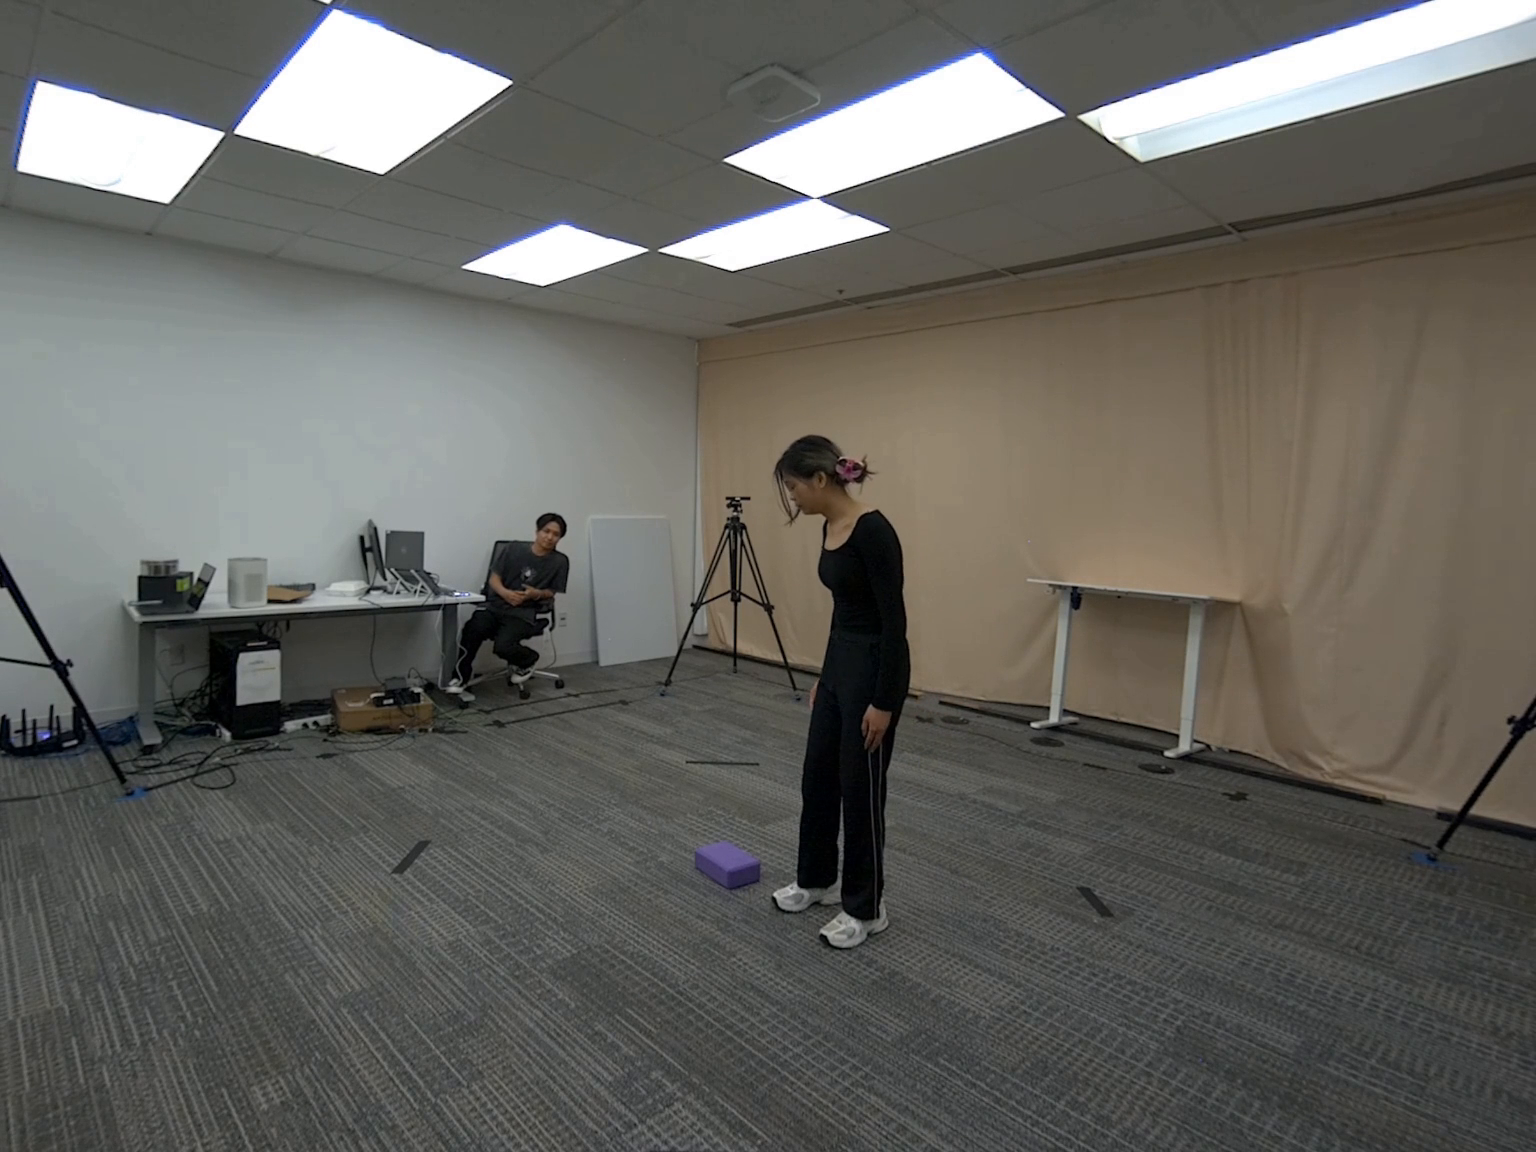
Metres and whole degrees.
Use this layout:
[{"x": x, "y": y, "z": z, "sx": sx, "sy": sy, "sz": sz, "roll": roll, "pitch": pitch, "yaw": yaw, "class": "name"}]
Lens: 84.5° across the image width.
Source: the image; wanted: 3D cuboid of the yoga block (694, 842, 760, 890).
[{"x": -0.158, "y": 1.064, "z": 3.111, "sx": 0.146, "sy": 0.076, "sz": 0.235, "roll": -4, "pitch": 7, "yaw": -36, "class": "yoga block"}]
